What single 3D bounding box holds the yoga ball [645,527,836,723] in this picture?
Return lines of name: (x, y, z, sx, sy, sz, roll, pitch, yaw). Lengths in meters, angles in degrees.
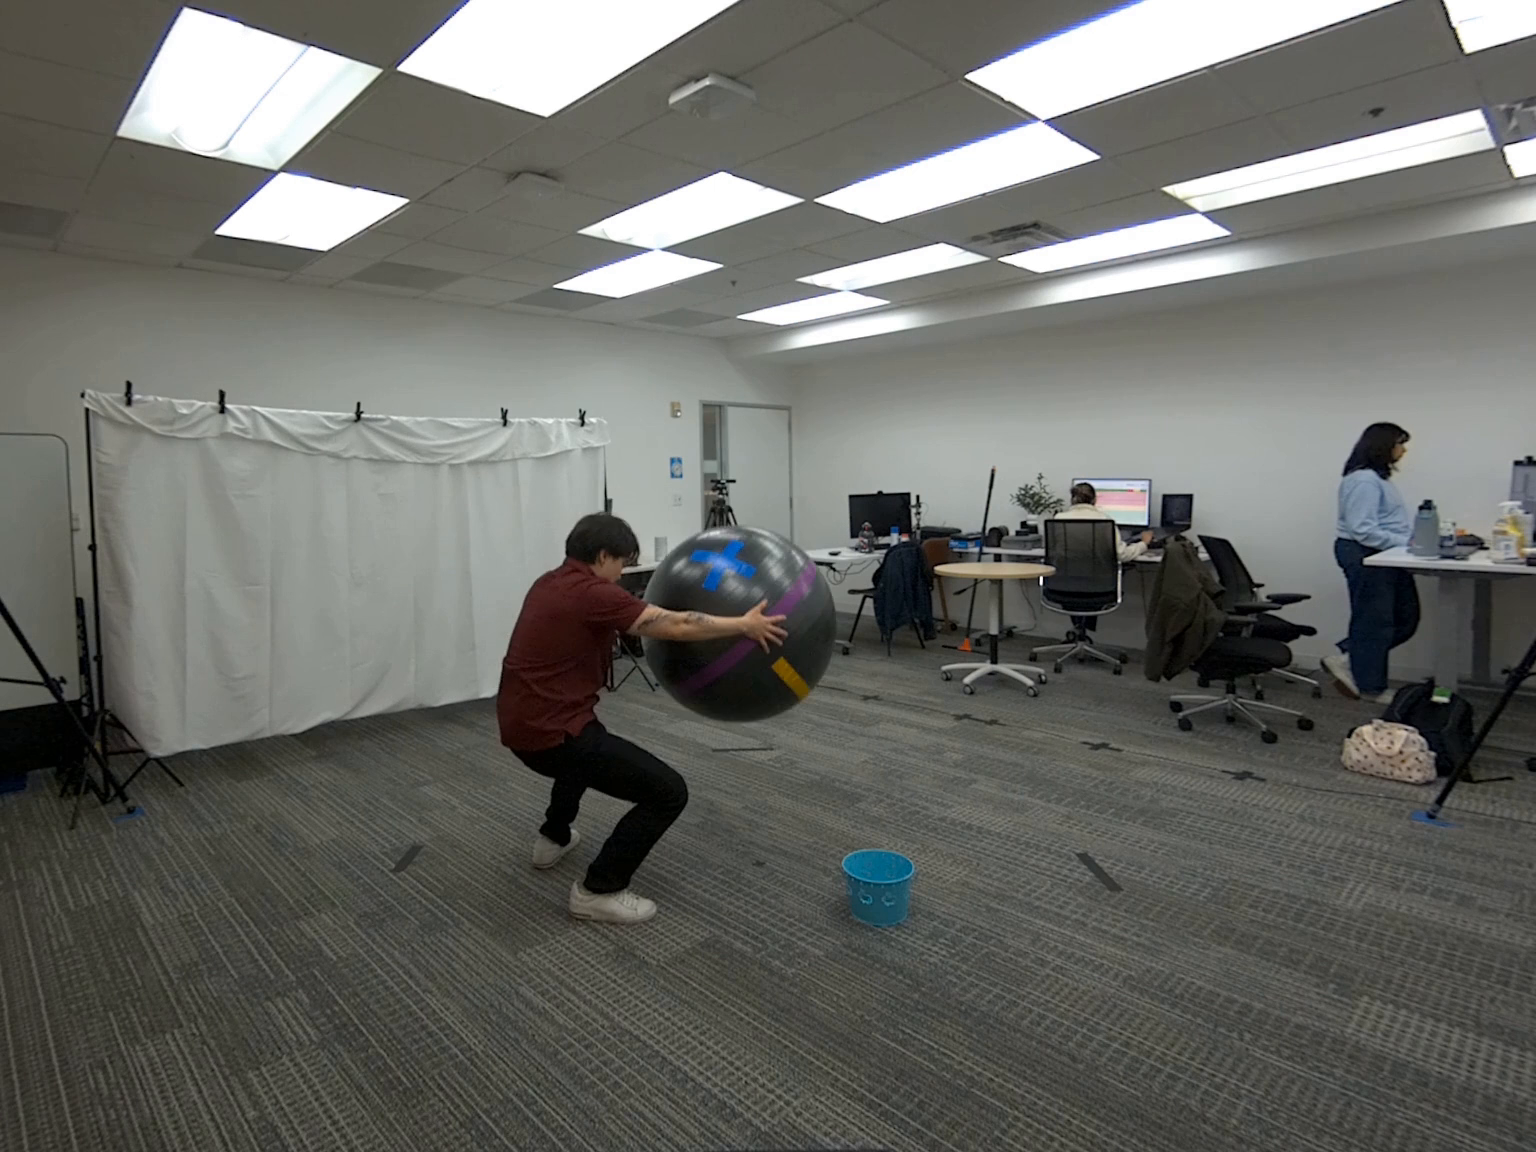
yoga ball: (-0.125, 0.181, 3.312, 0.757, 0.755, 0.762, -1, 5, -2)
